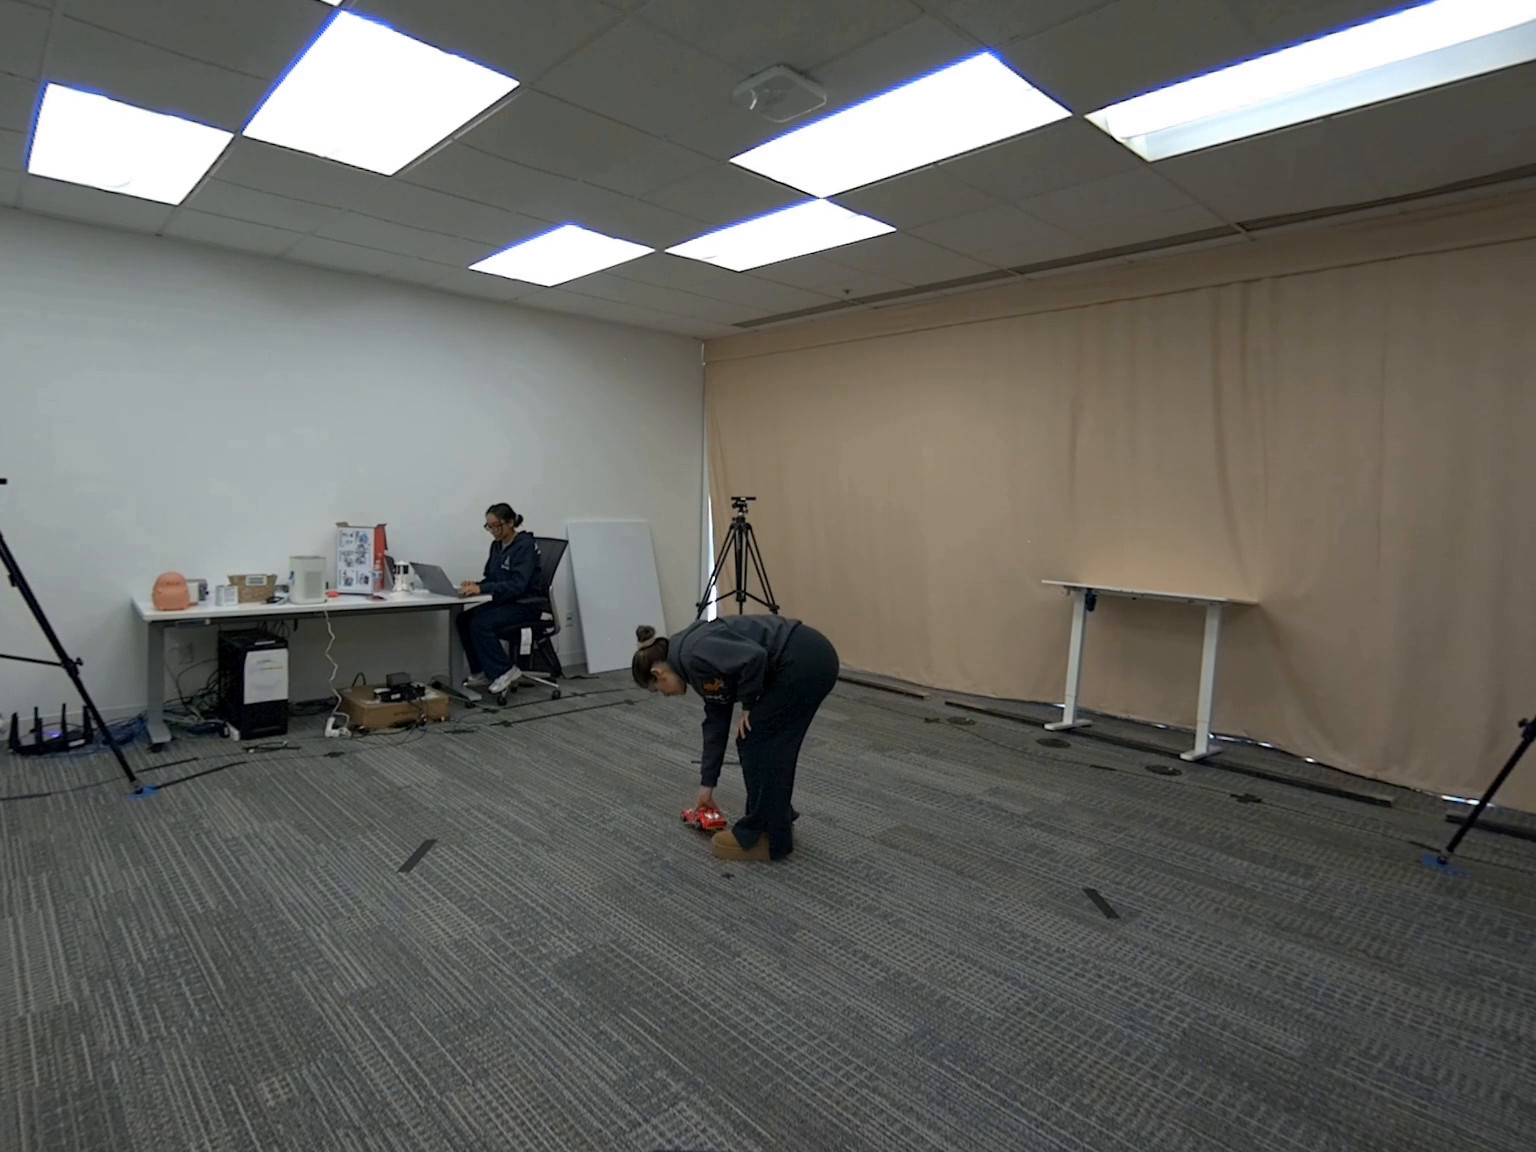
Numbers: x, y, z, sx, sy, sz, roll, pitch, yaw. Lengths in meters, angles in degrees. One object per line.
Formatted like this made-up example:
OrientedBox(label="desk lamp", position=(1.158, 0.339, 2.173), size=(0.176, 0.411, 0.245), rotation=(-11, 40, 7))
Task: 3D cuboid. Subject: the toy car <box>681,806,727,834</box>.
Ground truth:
OrientedBox(label="toy car", position=(-0.271, 0.986, 3.513), size=(0.127, 0.084, 0.258), rotation=(8, -13, -31))
